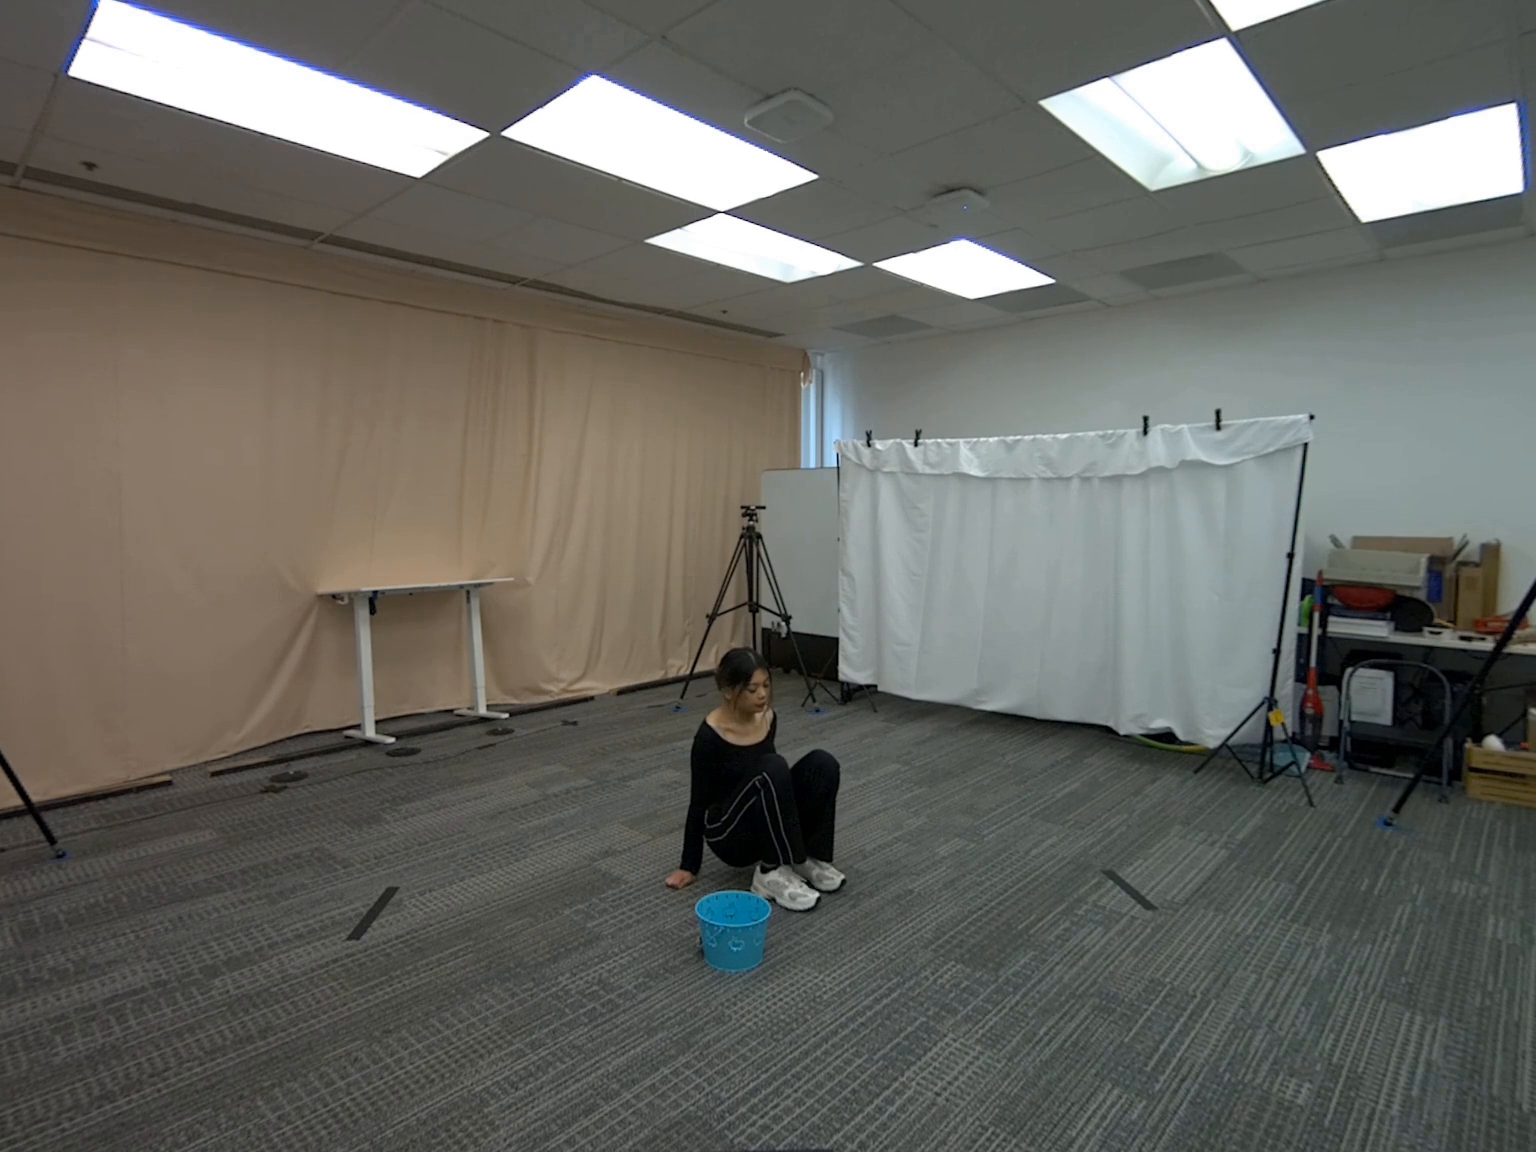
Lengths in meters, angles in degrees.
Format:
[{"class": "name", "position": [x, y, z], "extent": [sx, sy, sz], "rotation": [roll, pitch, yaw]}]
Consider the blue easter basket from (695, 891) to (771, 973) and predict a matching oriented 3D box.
[{"class": "blue easter basket", "position": [-0.112, 1.088, 2.608], "extent": [0.243, 0.155, 0.244], "rotation": [0, 4, -2]}]
